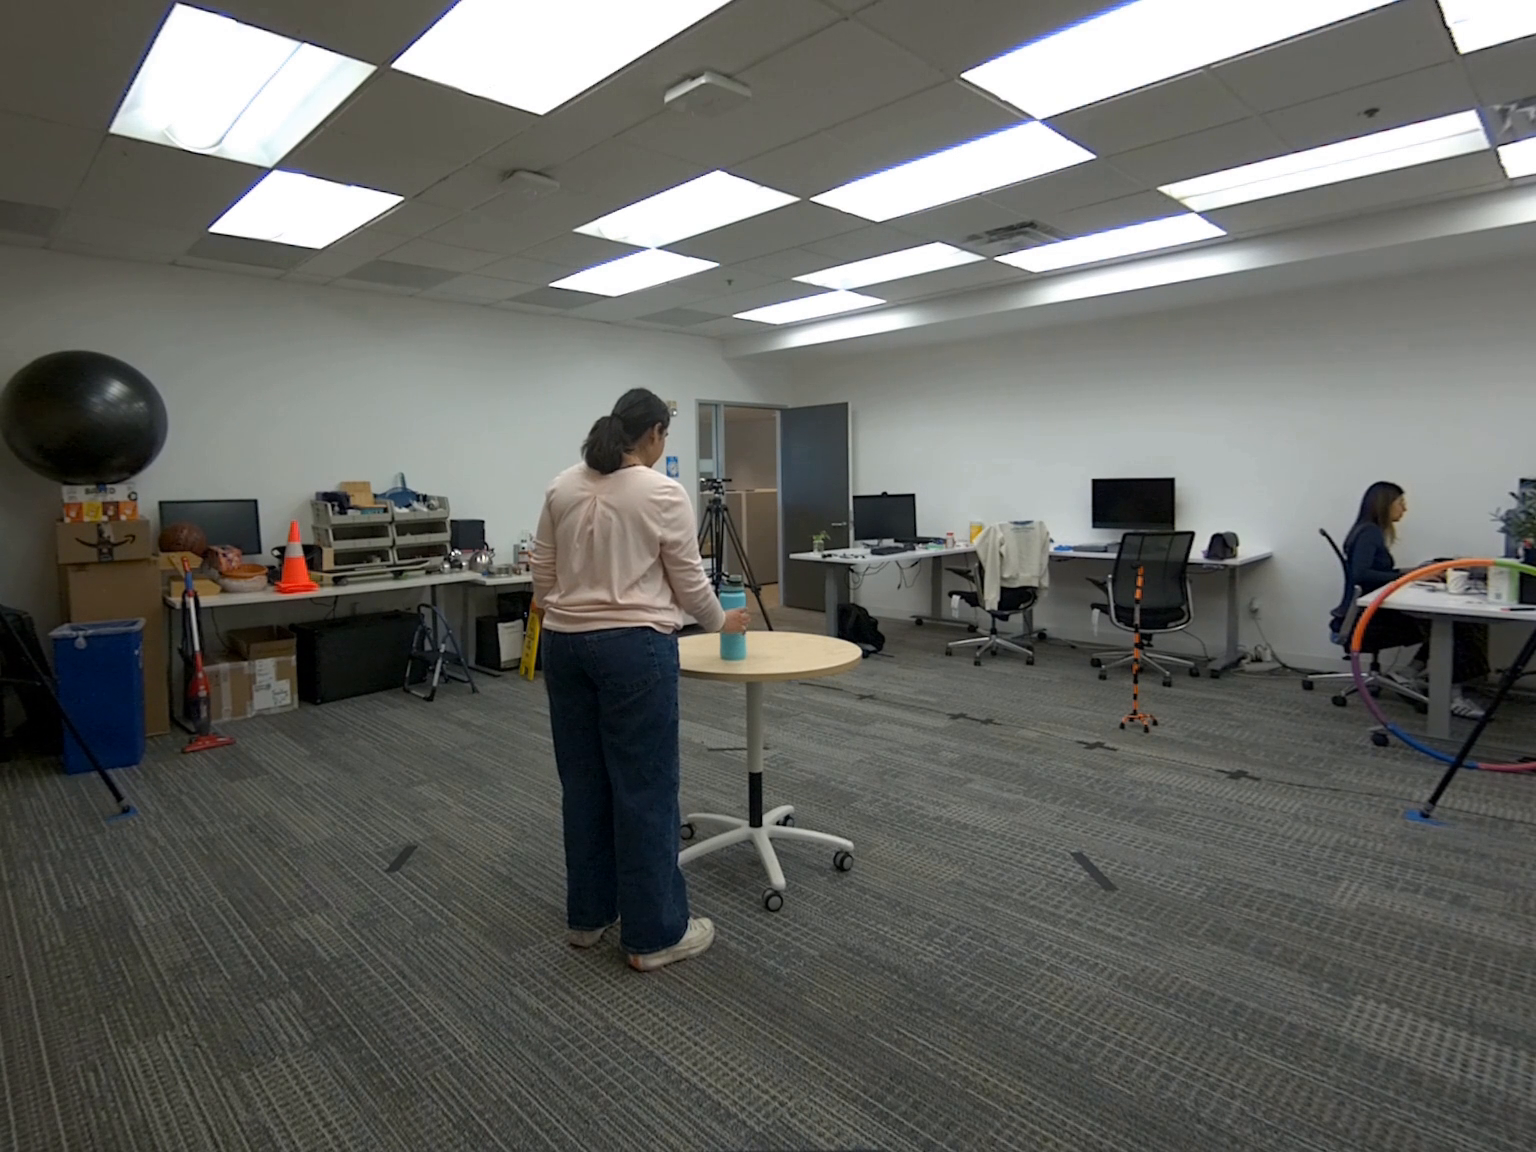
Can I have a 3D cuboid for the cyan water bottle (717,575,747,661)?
[{"bbox_3d":[-0.119,0.142,2.925,0.092,0.283,0.092,-2,1,-2],"label":"cyan water bottle"}]
